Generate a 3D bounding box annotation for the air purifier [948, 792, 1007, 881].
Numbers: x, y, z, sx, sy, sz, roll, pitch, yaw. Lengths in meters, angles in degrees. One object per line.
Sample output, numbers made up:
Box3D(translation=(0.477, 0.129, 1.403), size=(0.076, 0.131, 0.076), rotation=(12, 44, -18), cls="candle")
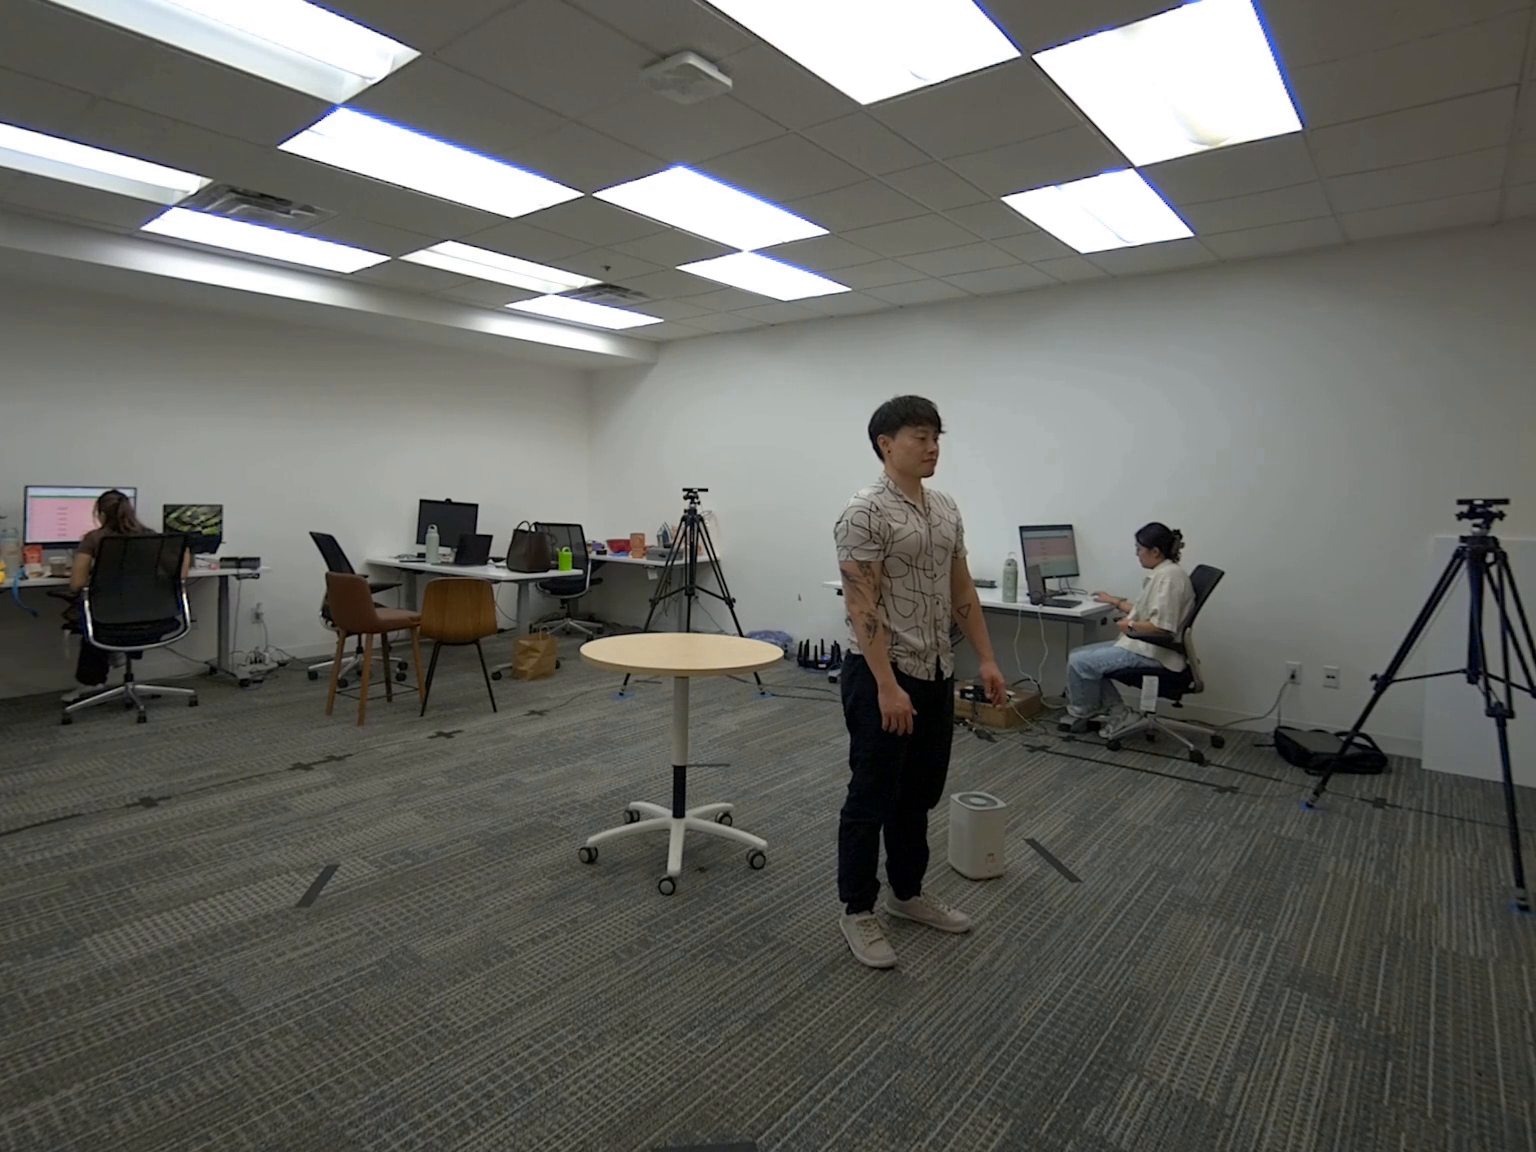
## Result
Box3D(translation=(0.766, 0.957, 3.151), size=(0.167, 0.264, 0.176), rotation=(0, 4, -25), cls="air purifier")
